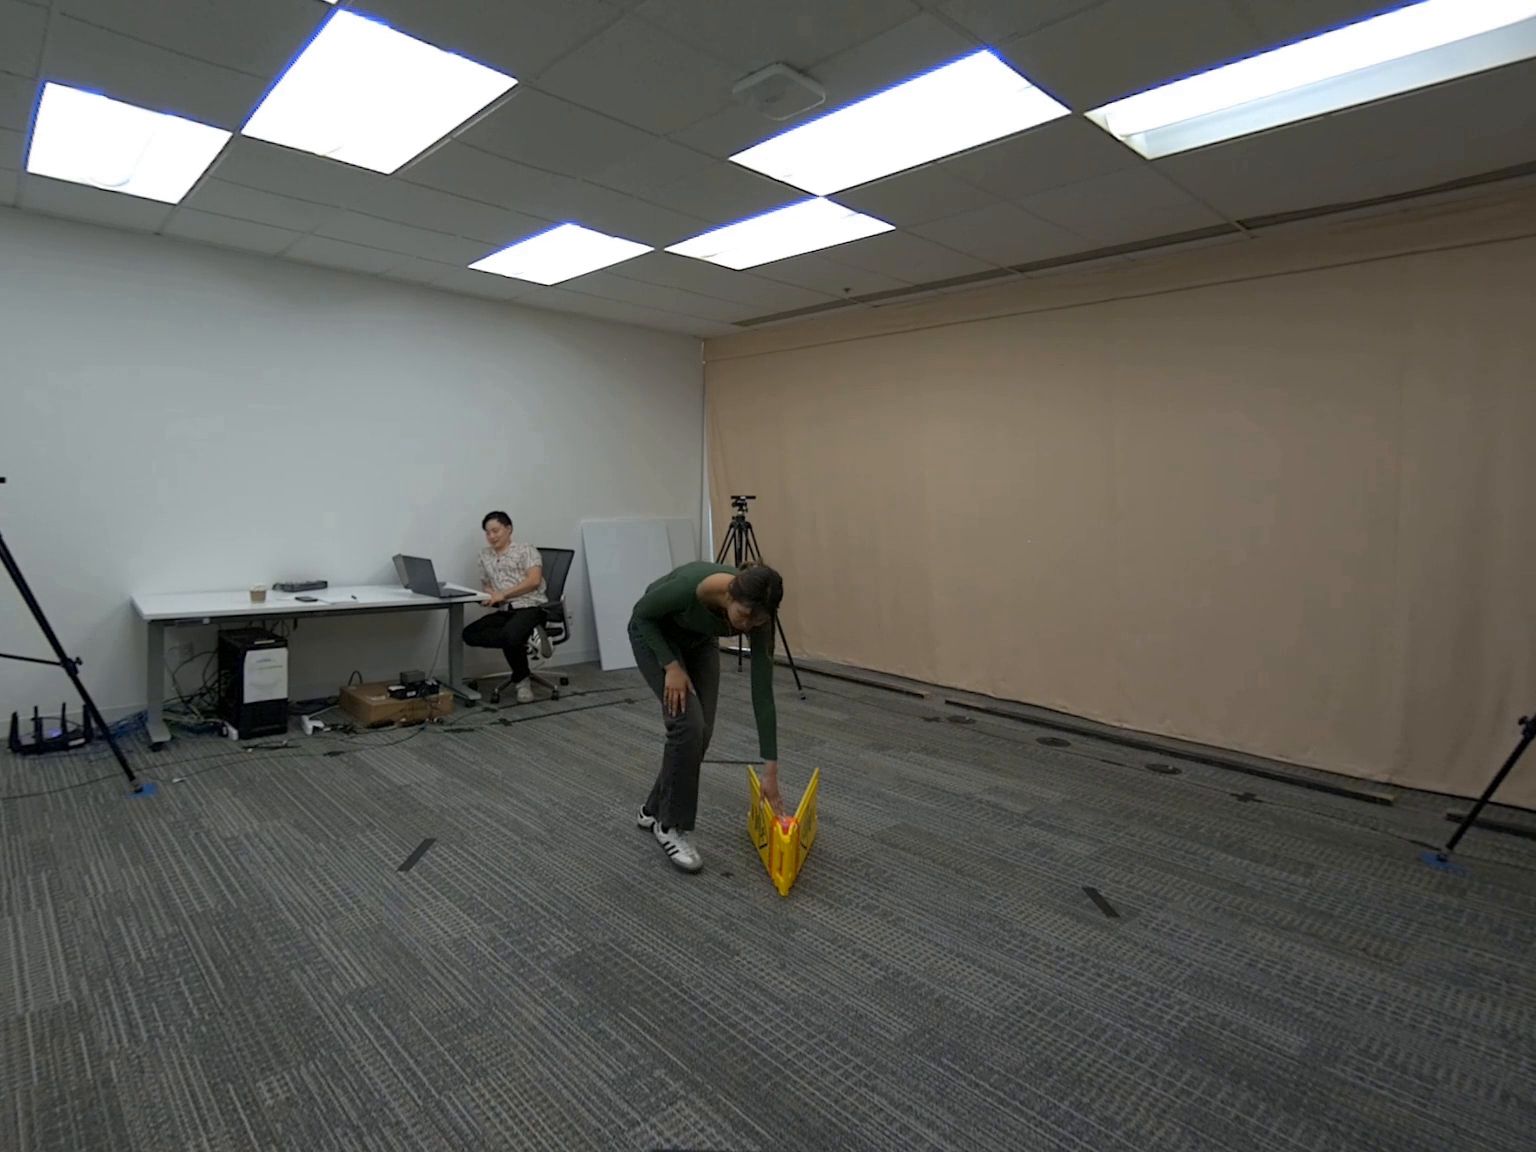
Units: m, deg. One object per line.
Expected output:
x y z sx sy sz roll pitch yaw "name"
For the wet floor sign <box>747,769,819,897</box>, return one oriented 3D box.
0.056 0.965 3.195 0.290 0.281 0.648 2 7 0 "wet floor sign"
